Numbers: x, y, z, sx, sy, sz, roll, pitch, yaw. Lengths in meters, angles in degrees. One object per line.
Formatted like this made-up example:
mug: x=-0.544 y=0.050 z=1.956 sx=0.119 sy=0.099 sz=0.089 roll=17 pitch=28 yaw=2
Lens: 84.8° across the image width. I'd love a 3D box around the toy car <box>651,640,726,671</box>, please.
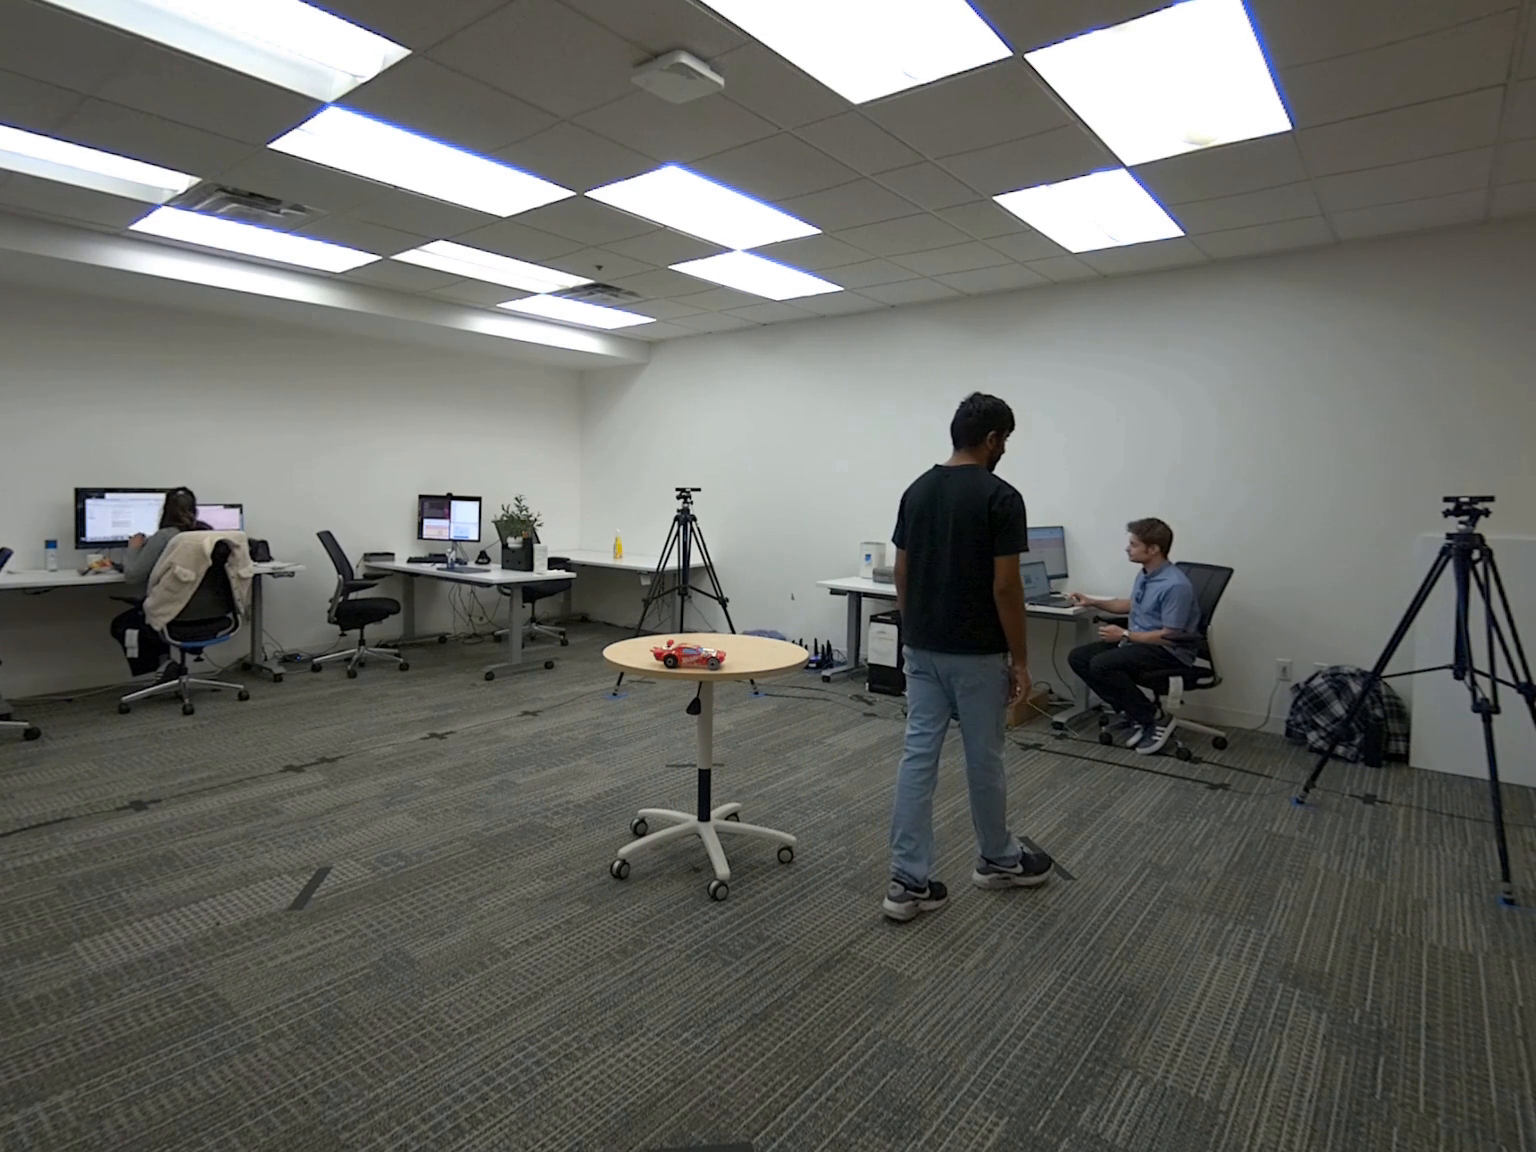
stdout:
toy car: x=-0.284 y=0.272 z=2.912 sx=0.257 sy=0.083 sz=0.130 roll=13 pitch=7 yaw=6
